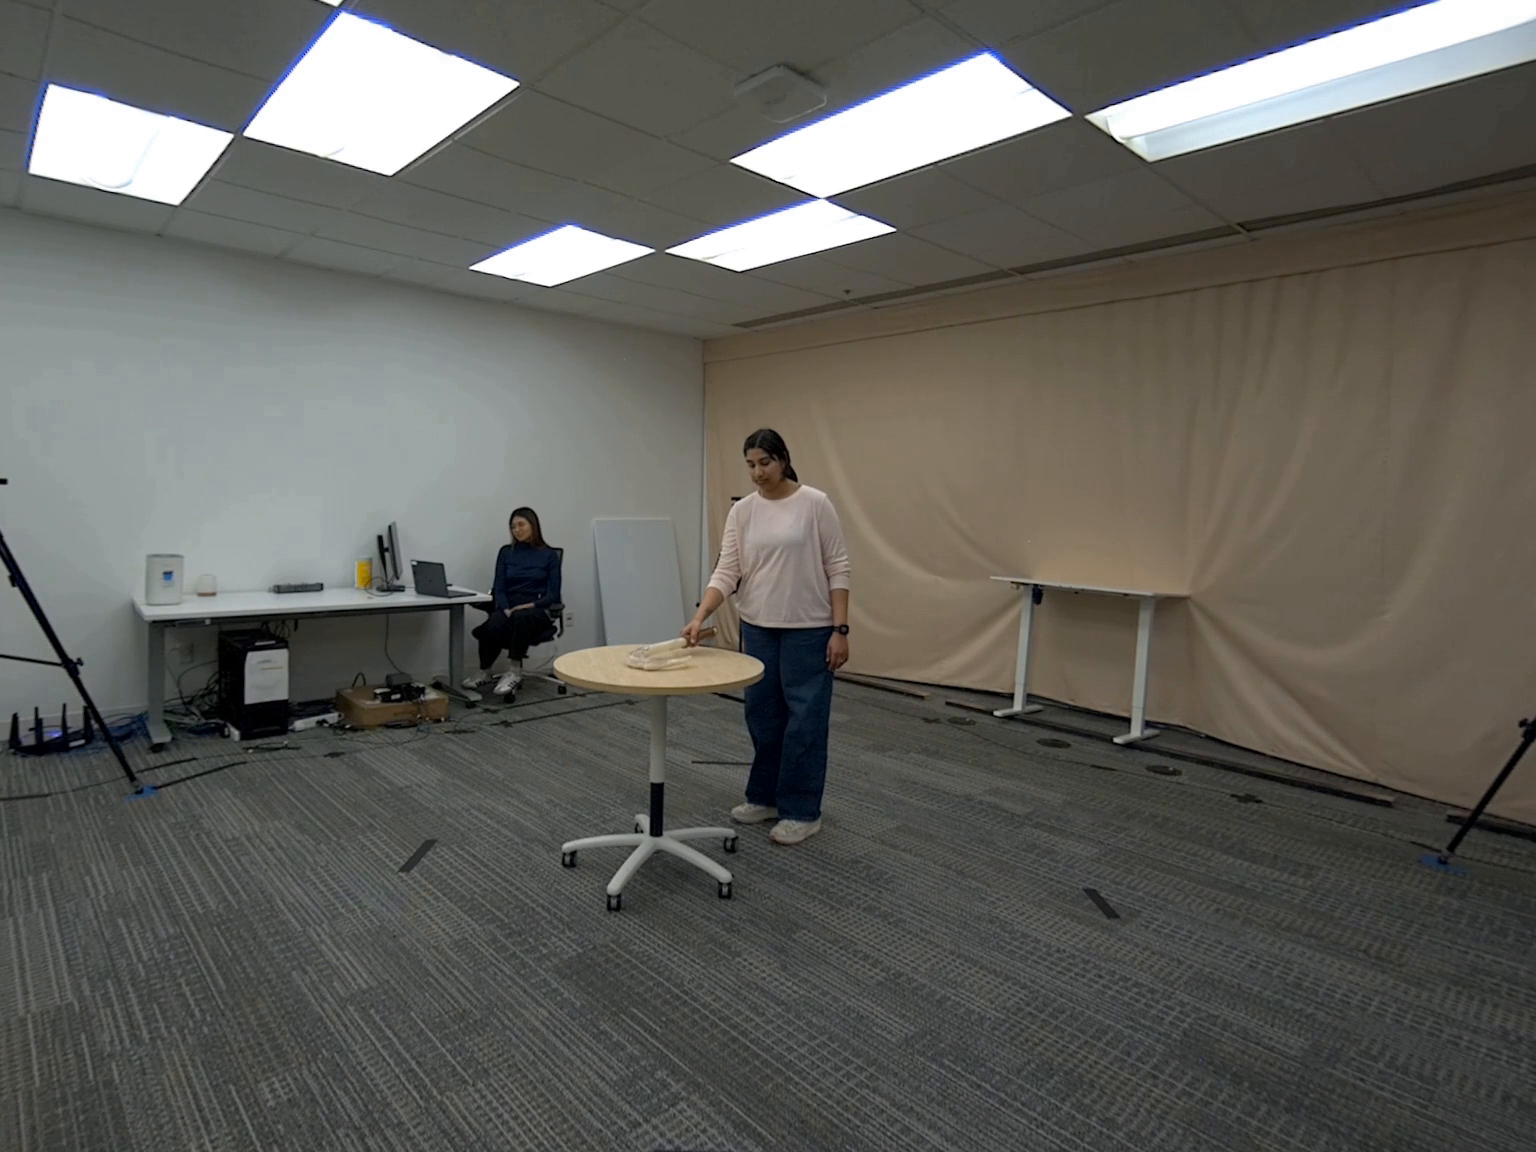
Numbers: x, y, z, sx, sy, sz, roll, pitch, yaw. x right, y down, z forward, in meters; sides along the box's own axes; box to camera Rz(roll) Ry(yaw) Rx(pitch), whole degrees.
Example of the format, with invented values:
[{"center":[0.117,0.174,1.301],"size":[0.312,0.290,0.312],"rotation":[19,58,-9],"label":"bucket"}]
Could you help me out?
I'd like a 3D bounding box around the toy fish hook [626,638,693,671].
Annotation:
[{"center":[-0.321,0.270,3.144],"size":[0.230,0.048,0.498],"rotation":[8,17,37],"label":"toy fish hook"}]
